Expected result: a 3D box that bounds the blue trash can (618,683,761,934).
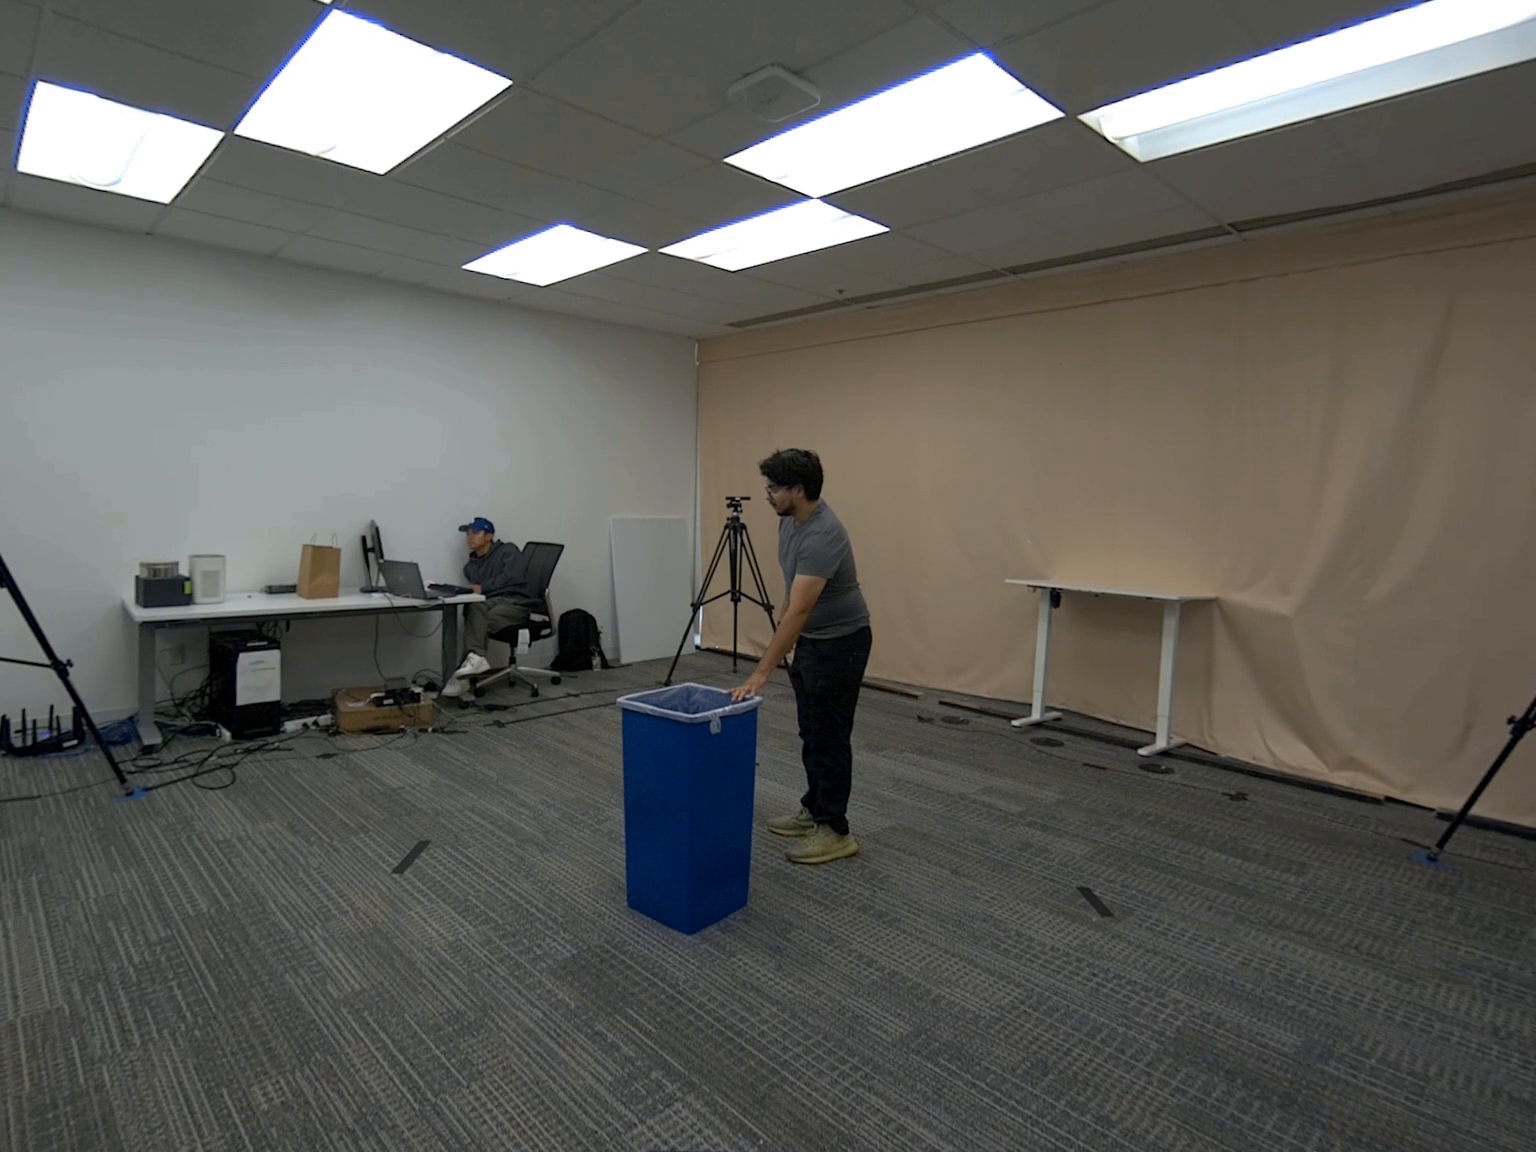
[{"bbox_3d":[-0.281,0.768,2.861,0.383,0.712,0.369,4,4,39],"label":"blue trash can"}]
